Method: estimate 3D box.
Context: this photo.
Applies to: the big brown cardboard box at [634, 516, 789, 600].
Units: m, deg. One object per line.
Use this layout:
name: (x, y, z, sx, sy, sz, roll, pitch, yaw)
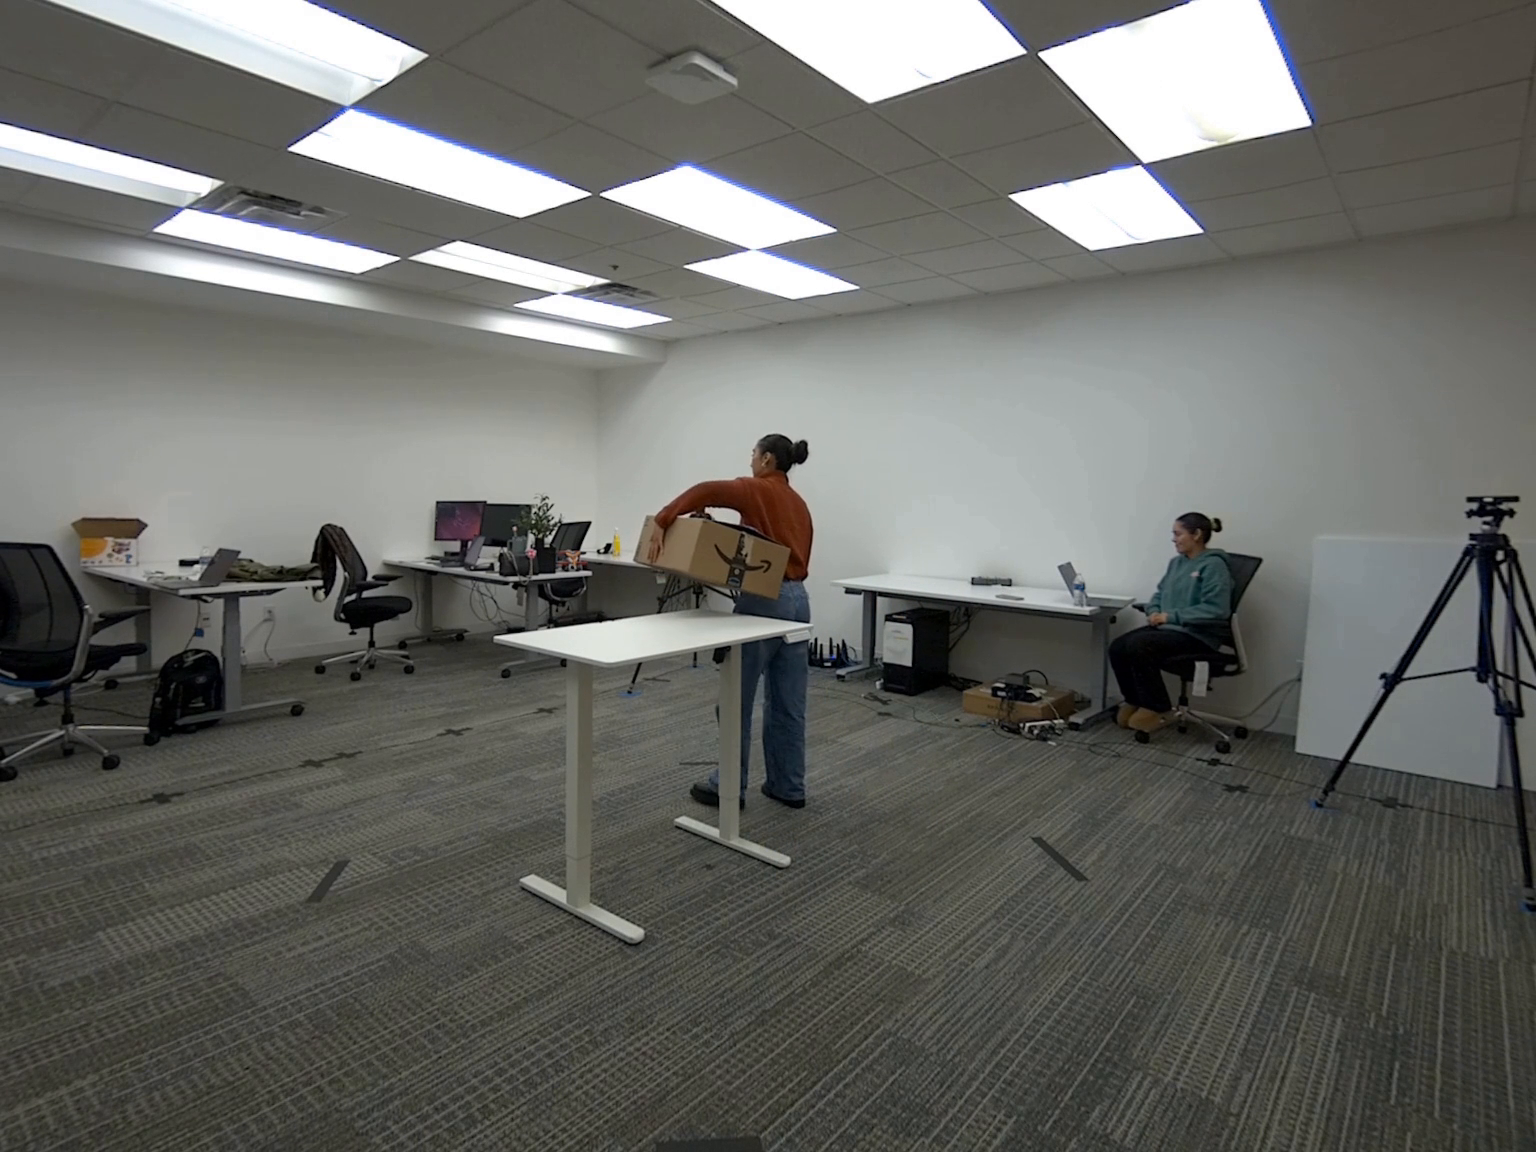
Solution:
big brown cardboard box: (-0.261, -0.089, 3.559, 0.404, 0.234, 0.607, 18, -3, -30)
